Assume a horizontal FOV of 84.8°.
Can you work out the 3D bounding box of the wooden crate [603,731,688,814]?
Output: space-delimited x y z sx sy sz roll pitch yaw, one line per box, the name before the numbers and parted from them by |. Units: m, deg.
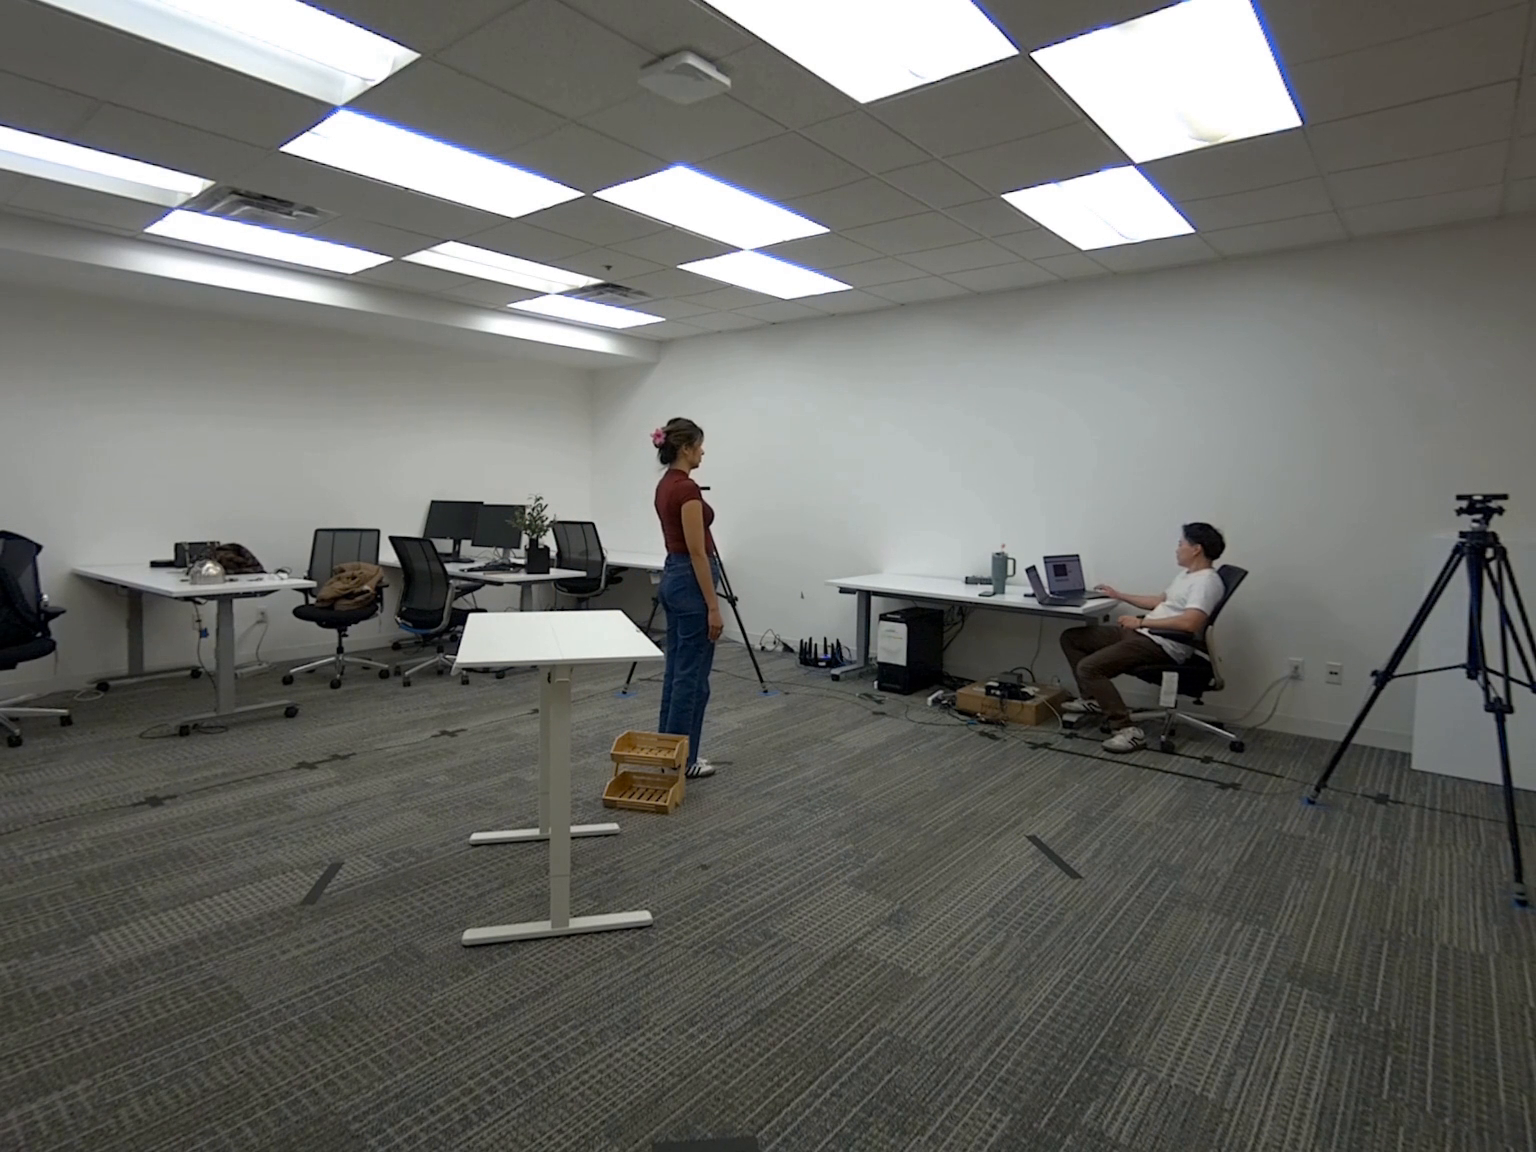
wooden crate | -0.550 0.861 3.783 0.329 0.272 0.298 1 4 13
